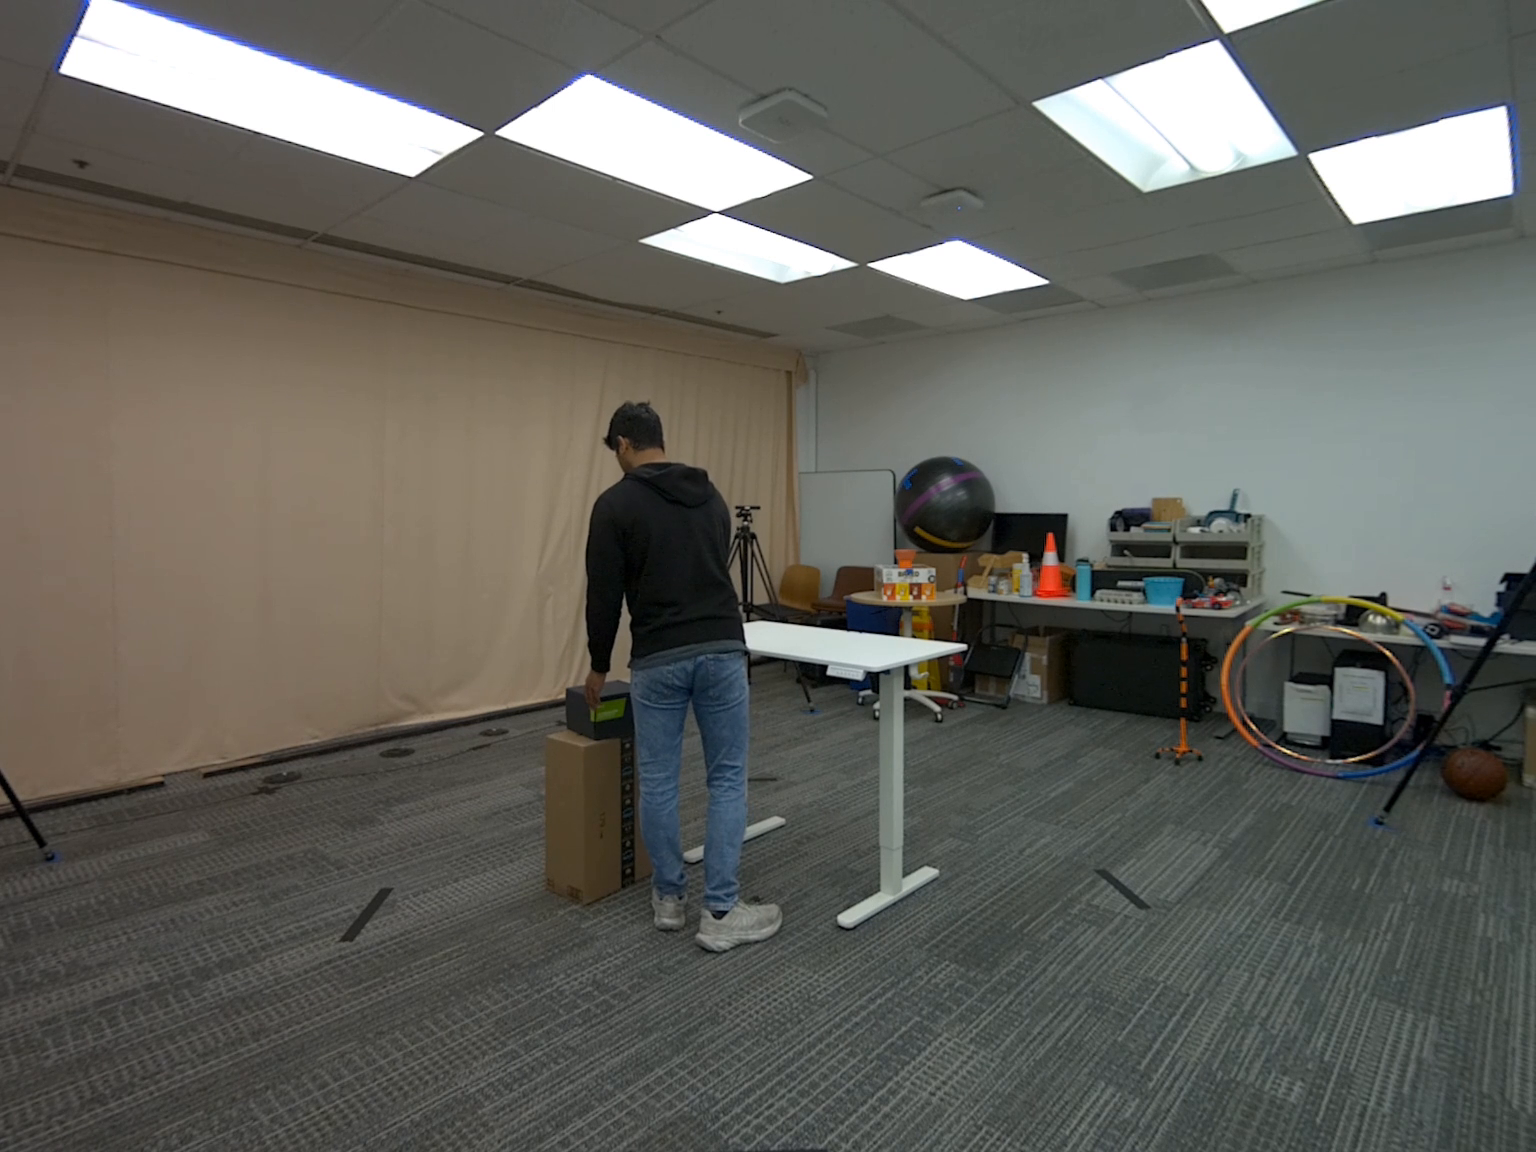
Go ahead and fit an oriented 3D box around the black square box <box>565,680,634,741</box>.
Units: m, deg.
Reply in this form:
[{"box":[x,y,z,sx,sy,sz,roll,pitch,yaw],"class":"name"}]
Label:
[{"box":[-0.598,0.494,3.126,0.221,0.155,0.224,-3,6,-41],"class":"black square box"}]
